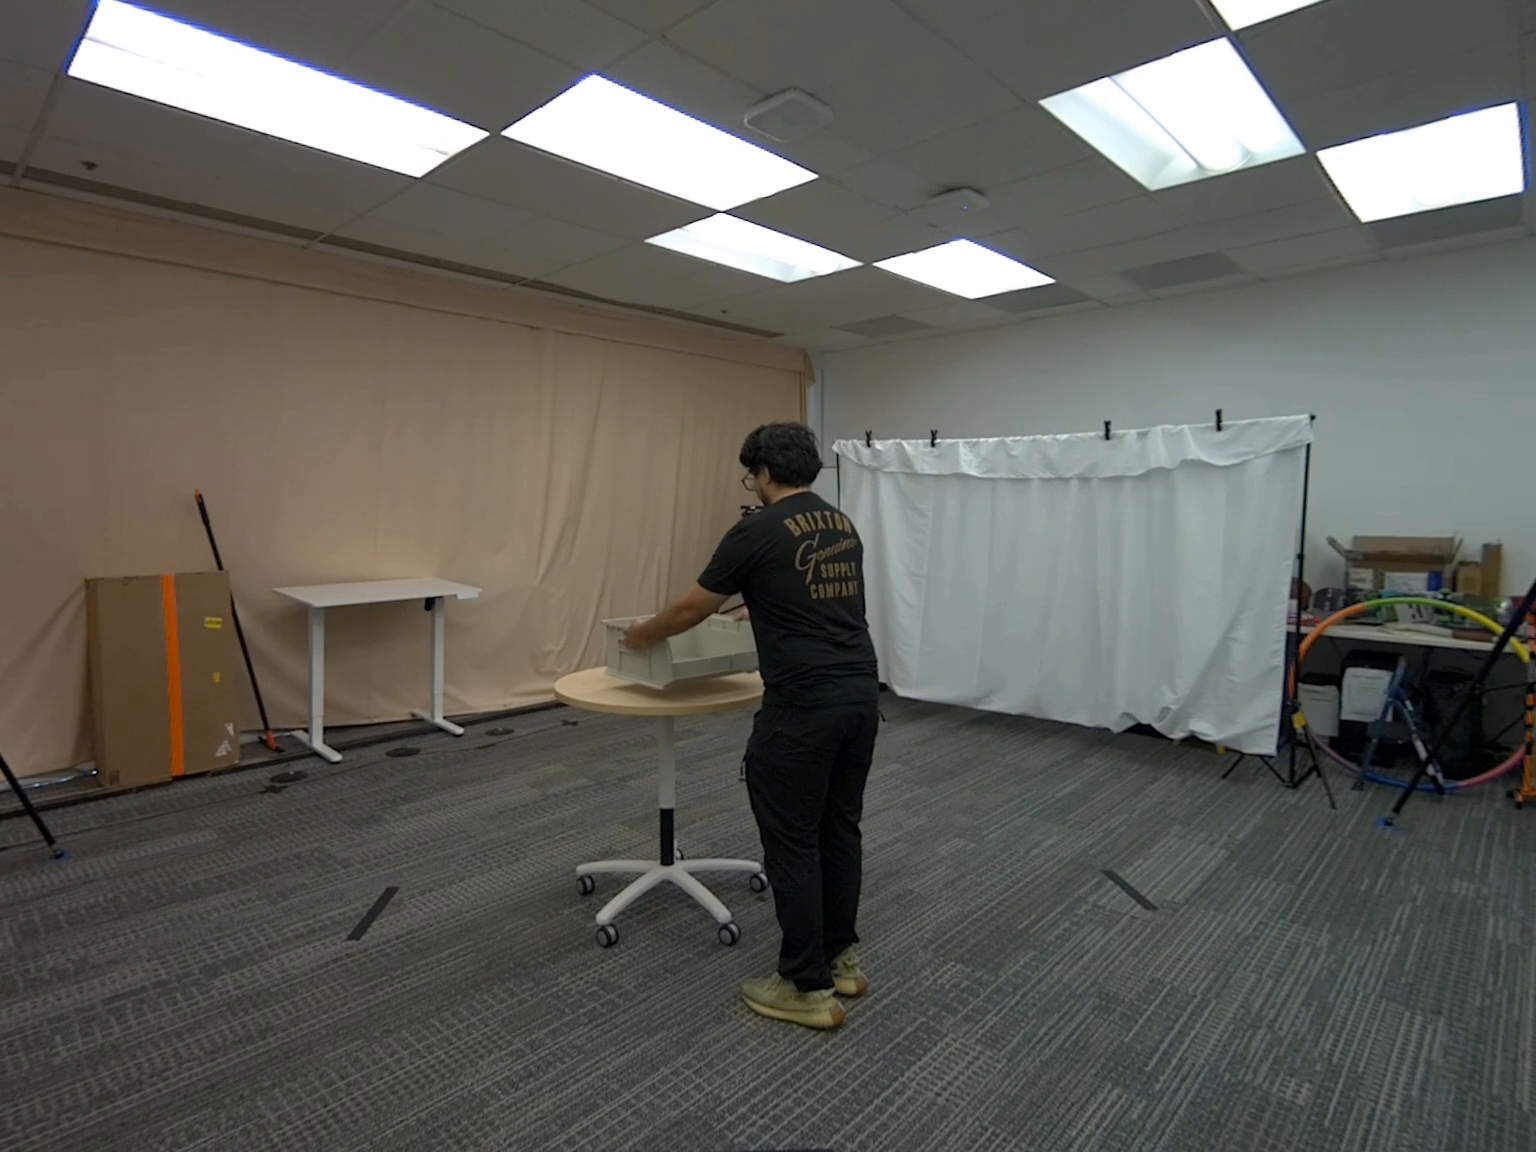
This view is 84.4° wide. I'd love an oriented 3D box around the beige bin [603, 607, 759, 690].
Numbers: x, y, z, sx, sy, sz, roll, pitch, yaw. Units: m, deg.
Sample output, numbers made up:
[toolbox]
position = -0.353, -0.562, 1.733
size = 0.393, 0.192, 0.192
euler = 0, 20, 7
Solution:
[beige bin]
position = -0.274, 0.243, 2.824
size = 0.409, 0.188, 0.390
euler = -5, 4, -44
